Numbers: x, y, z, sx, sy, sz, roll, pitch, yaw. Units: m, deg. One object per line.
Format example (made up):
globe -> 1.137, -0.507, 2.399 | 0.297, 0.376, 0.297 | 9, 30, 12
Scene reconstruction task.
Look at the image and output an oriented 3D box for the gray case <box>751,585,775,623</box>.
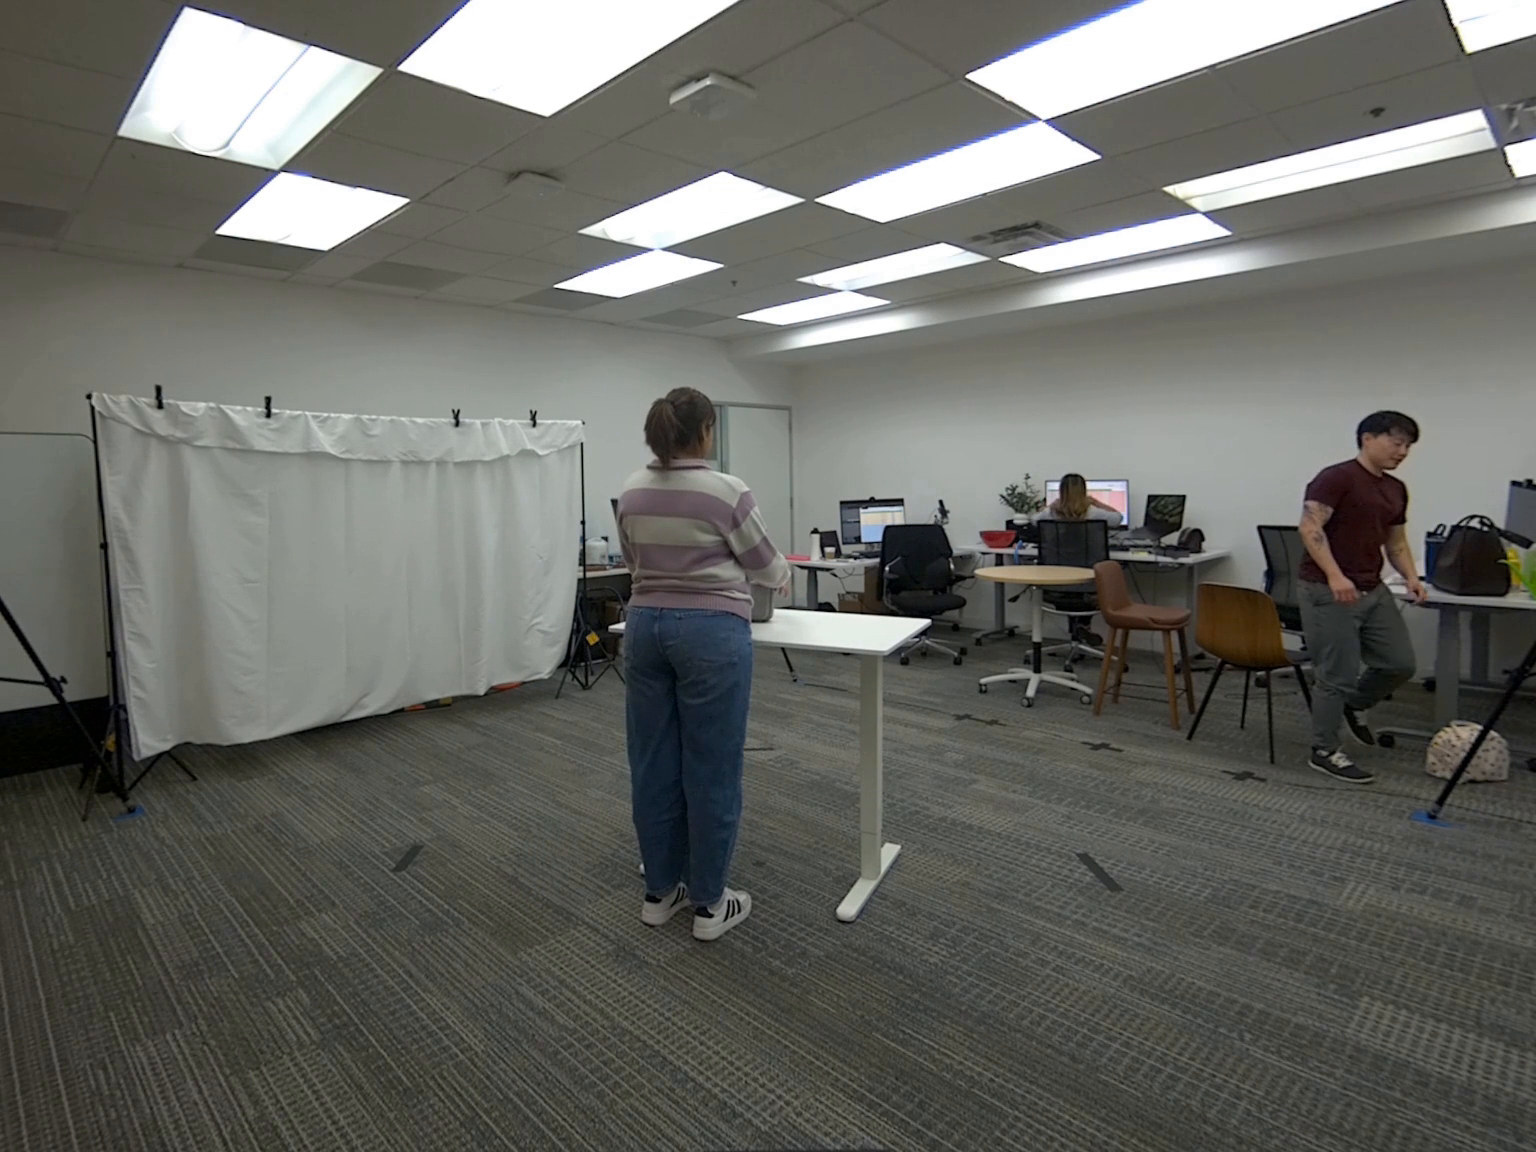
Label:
gray case -> -0.091, 0.033, 3.131 | 0.262, 0.262, 0.102 | 2, -7, 19
